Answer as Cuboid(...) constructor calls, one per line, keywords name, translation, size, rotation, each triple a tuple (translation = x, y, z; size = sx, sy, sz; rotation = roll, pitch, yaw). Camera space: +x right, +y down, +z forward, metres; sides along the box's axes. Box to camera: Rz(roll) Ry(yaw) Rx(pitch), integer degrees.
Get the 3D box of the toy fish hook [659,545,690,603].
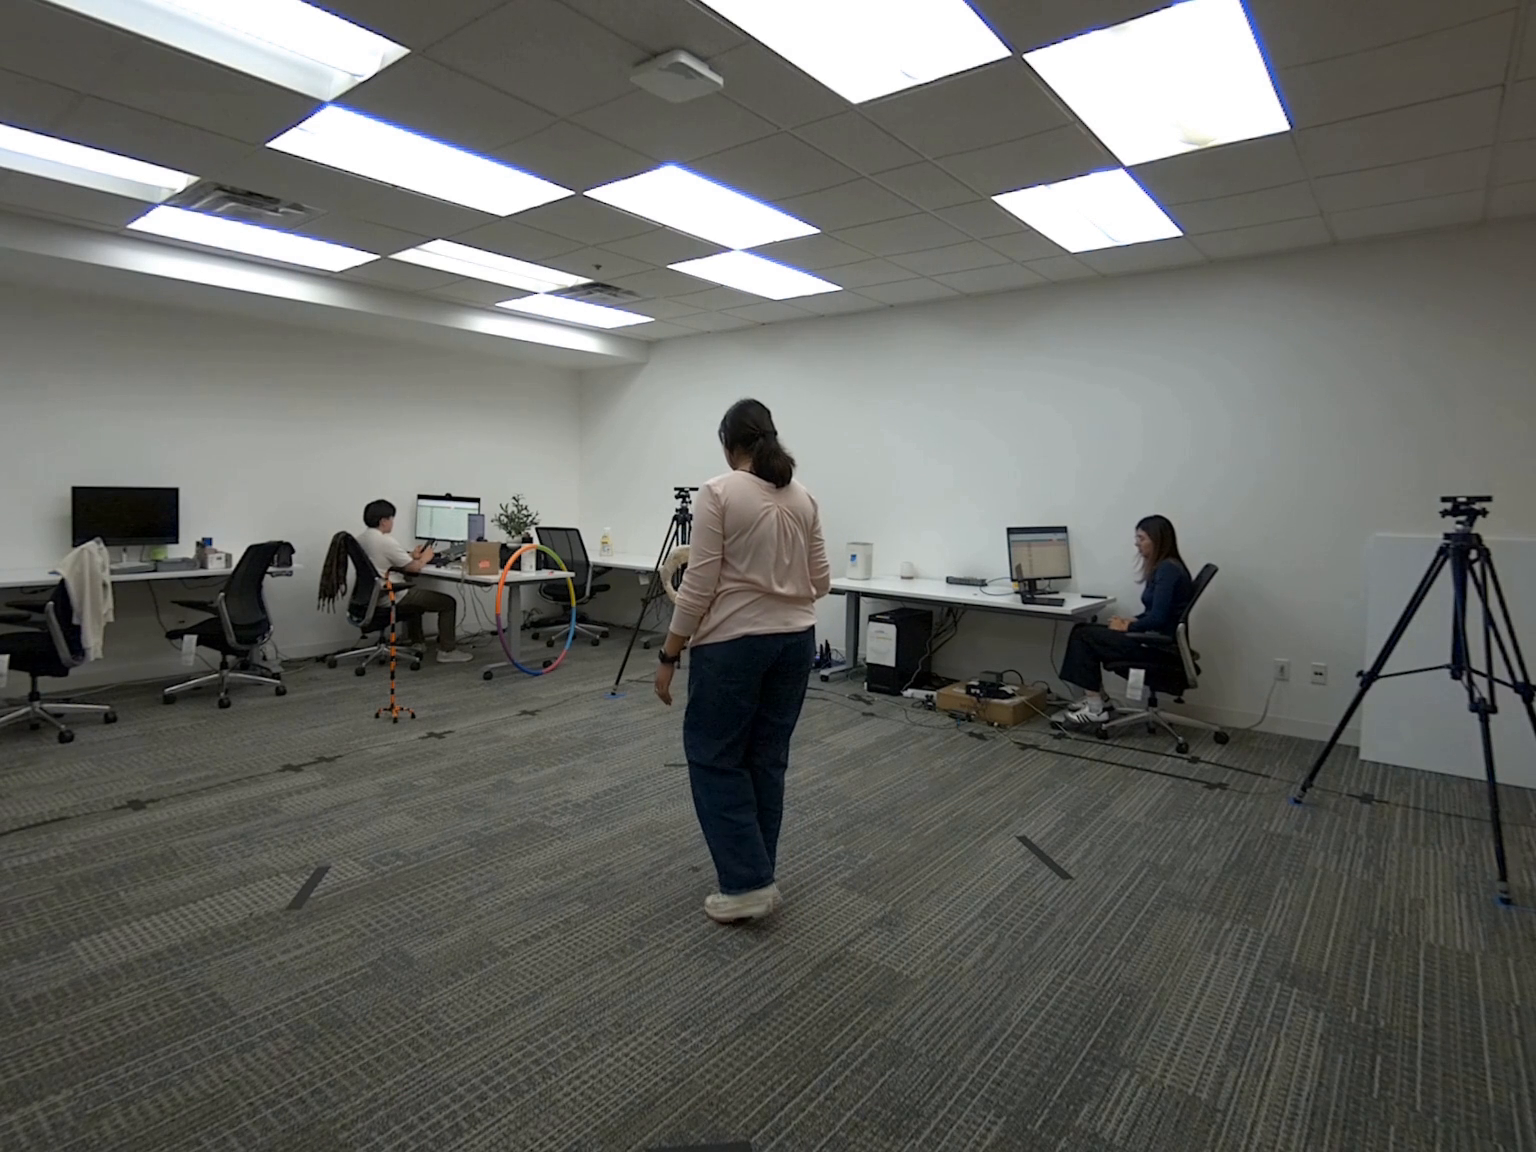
Cuboid(name="toy fish hook", translation=(-0.226, 0.082, 3.218), size=(0.524, 0.224, 0.047), rotation=(40, 12, 27))
